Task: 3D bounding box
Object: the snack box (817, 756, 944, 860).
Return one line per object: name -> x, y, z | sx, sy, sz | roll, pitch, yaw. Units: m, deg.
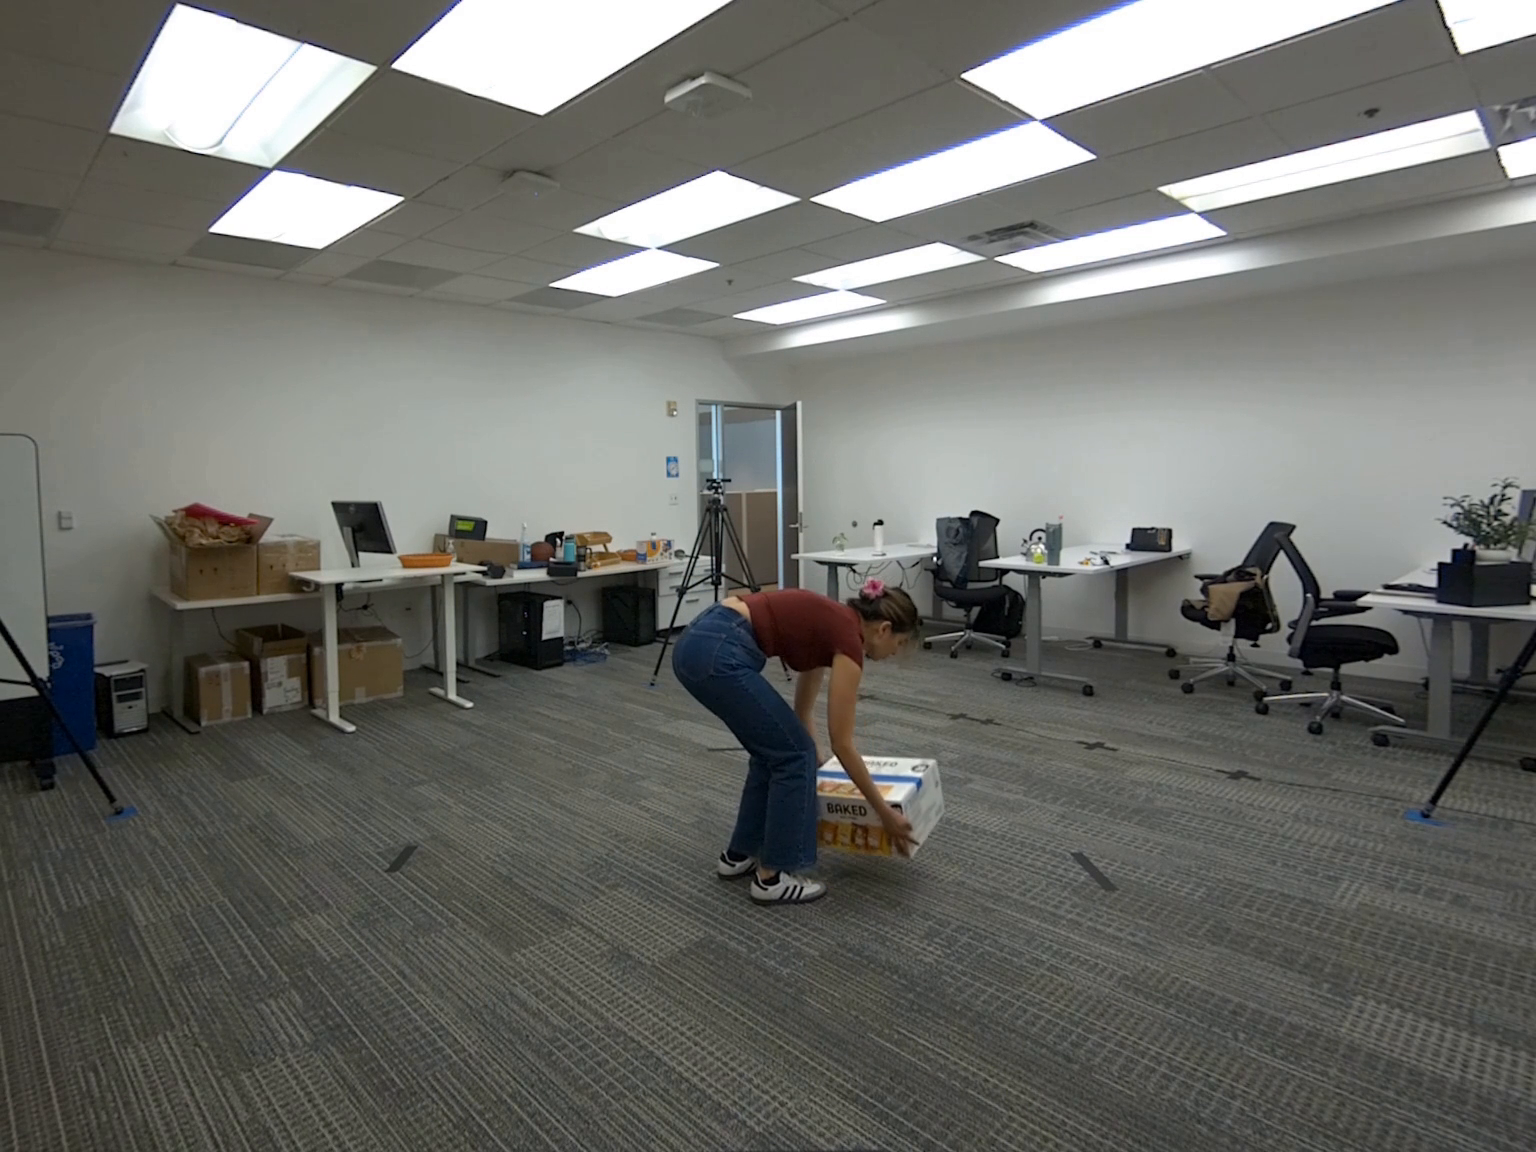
snack box -> 0.359, 0.788, 3.015 | 0.415, 0.204, 0.335 | -5, 10, 33
